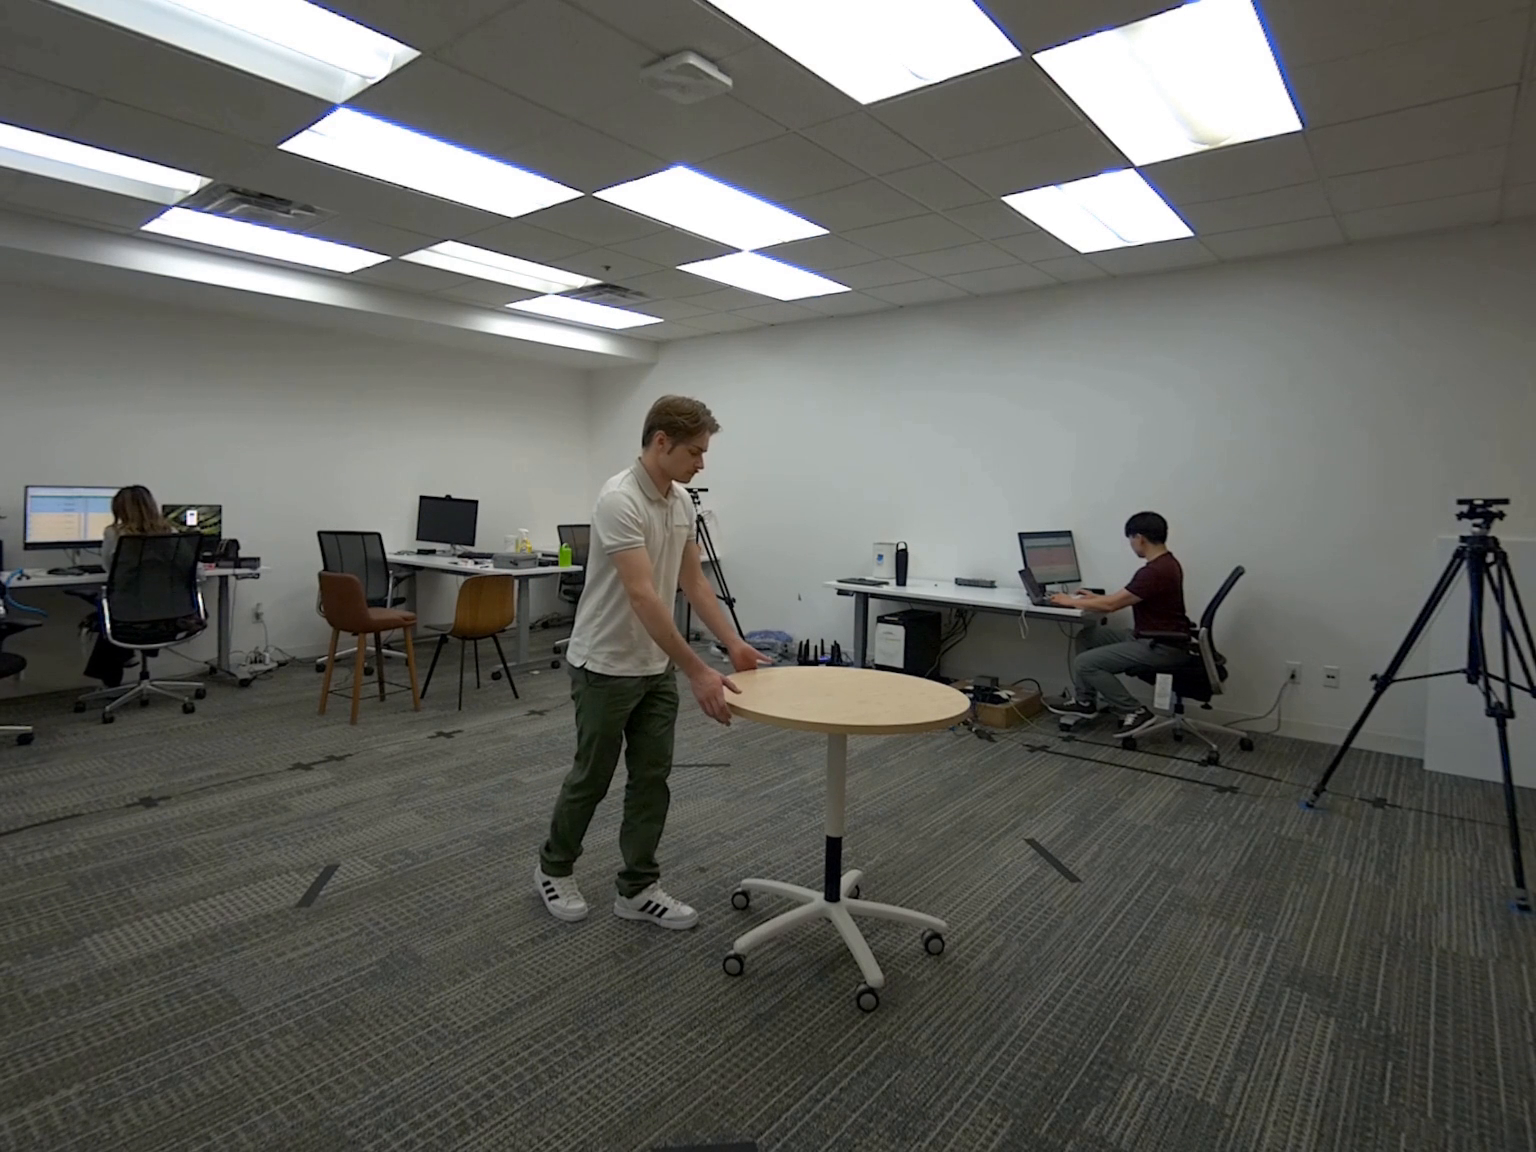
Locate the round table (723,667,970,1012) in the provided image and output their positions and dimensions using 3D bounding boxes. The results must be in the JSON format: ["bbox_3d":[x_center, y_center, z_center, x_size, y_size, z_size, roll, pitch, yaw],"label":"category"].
[{"bbox_3d":[0.179,0.735,2.593,0.784,0.784,0.789,2,4,-2],"label":"round table"}]
